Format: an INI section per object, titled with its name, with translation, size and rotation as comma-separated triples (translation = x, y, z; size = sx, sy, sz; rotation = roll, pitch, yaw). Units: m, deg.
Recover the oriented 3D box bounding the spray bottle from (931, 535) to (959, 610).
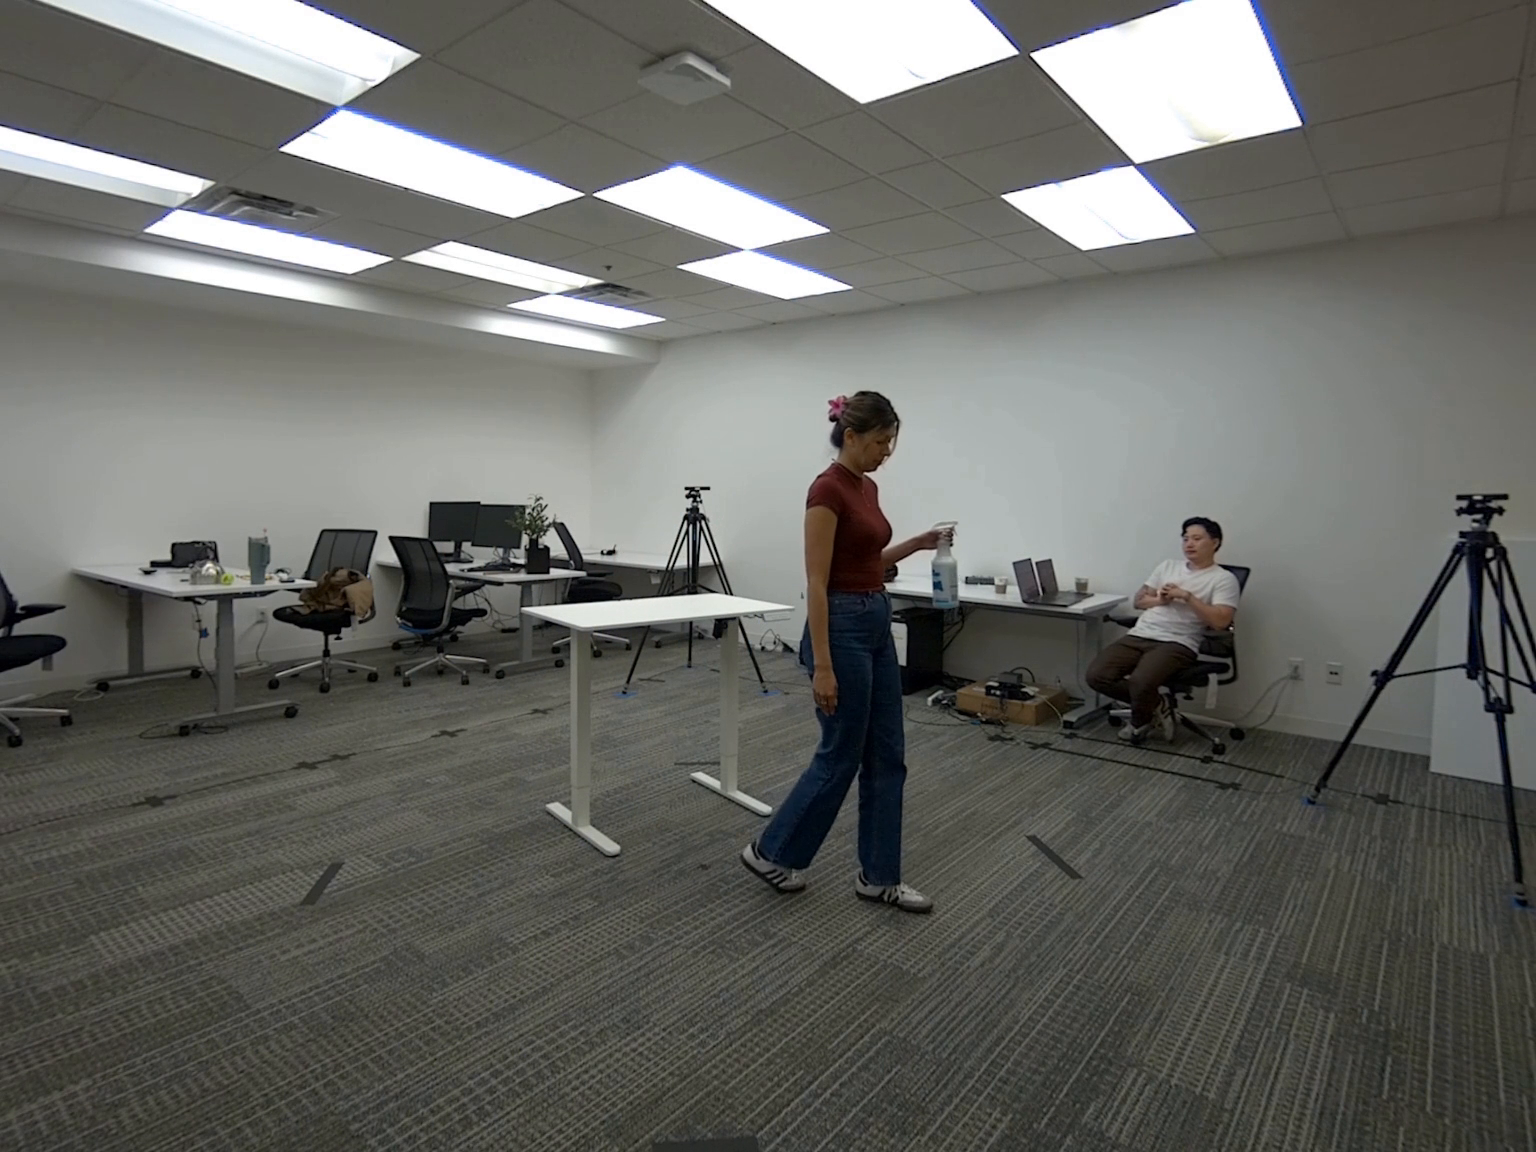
[spray bottle]
translation = 0.599, -0.037, 2.914
size = 0.093, 0.297, 0.085
rotation = -1, 2, 33
